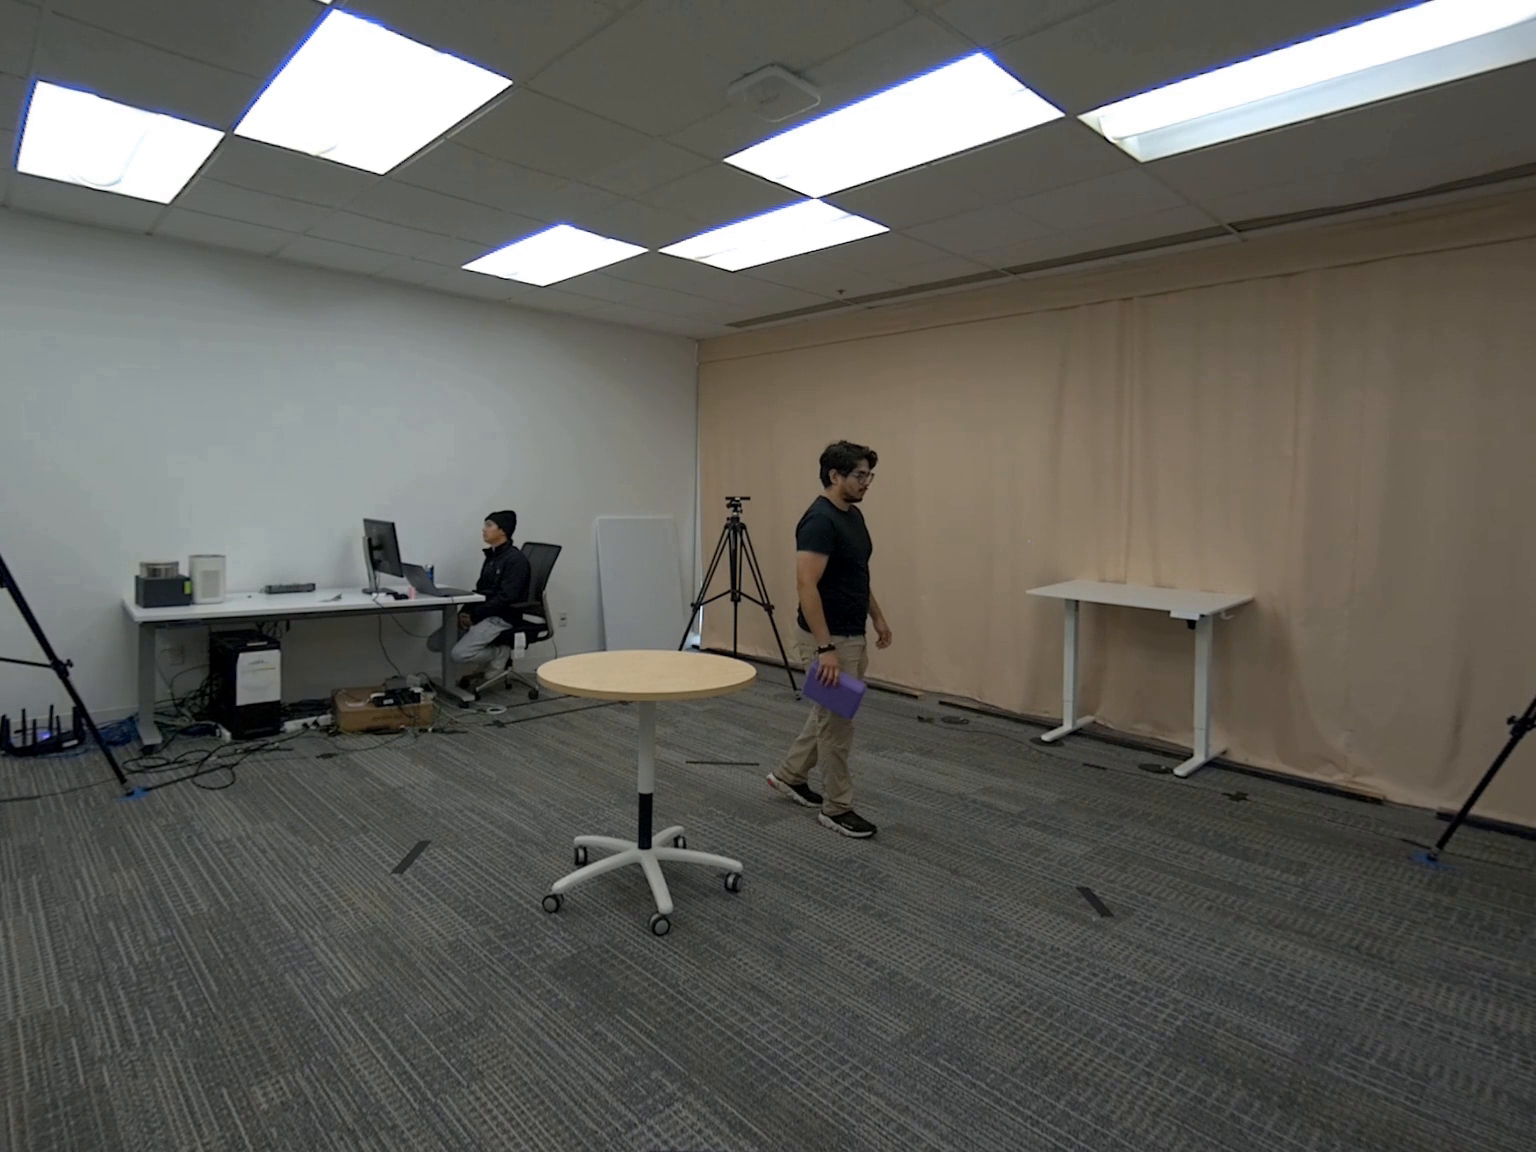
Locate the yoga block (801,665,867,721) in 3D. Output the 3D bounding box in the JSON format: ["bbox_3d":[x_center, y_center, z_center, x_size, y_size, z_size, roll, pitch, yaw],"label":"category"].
[{"bbox_3d":[0.257,0.450,3.363,0.233,0.147,0.076,25,29,17],"label":"yoga block"}]
